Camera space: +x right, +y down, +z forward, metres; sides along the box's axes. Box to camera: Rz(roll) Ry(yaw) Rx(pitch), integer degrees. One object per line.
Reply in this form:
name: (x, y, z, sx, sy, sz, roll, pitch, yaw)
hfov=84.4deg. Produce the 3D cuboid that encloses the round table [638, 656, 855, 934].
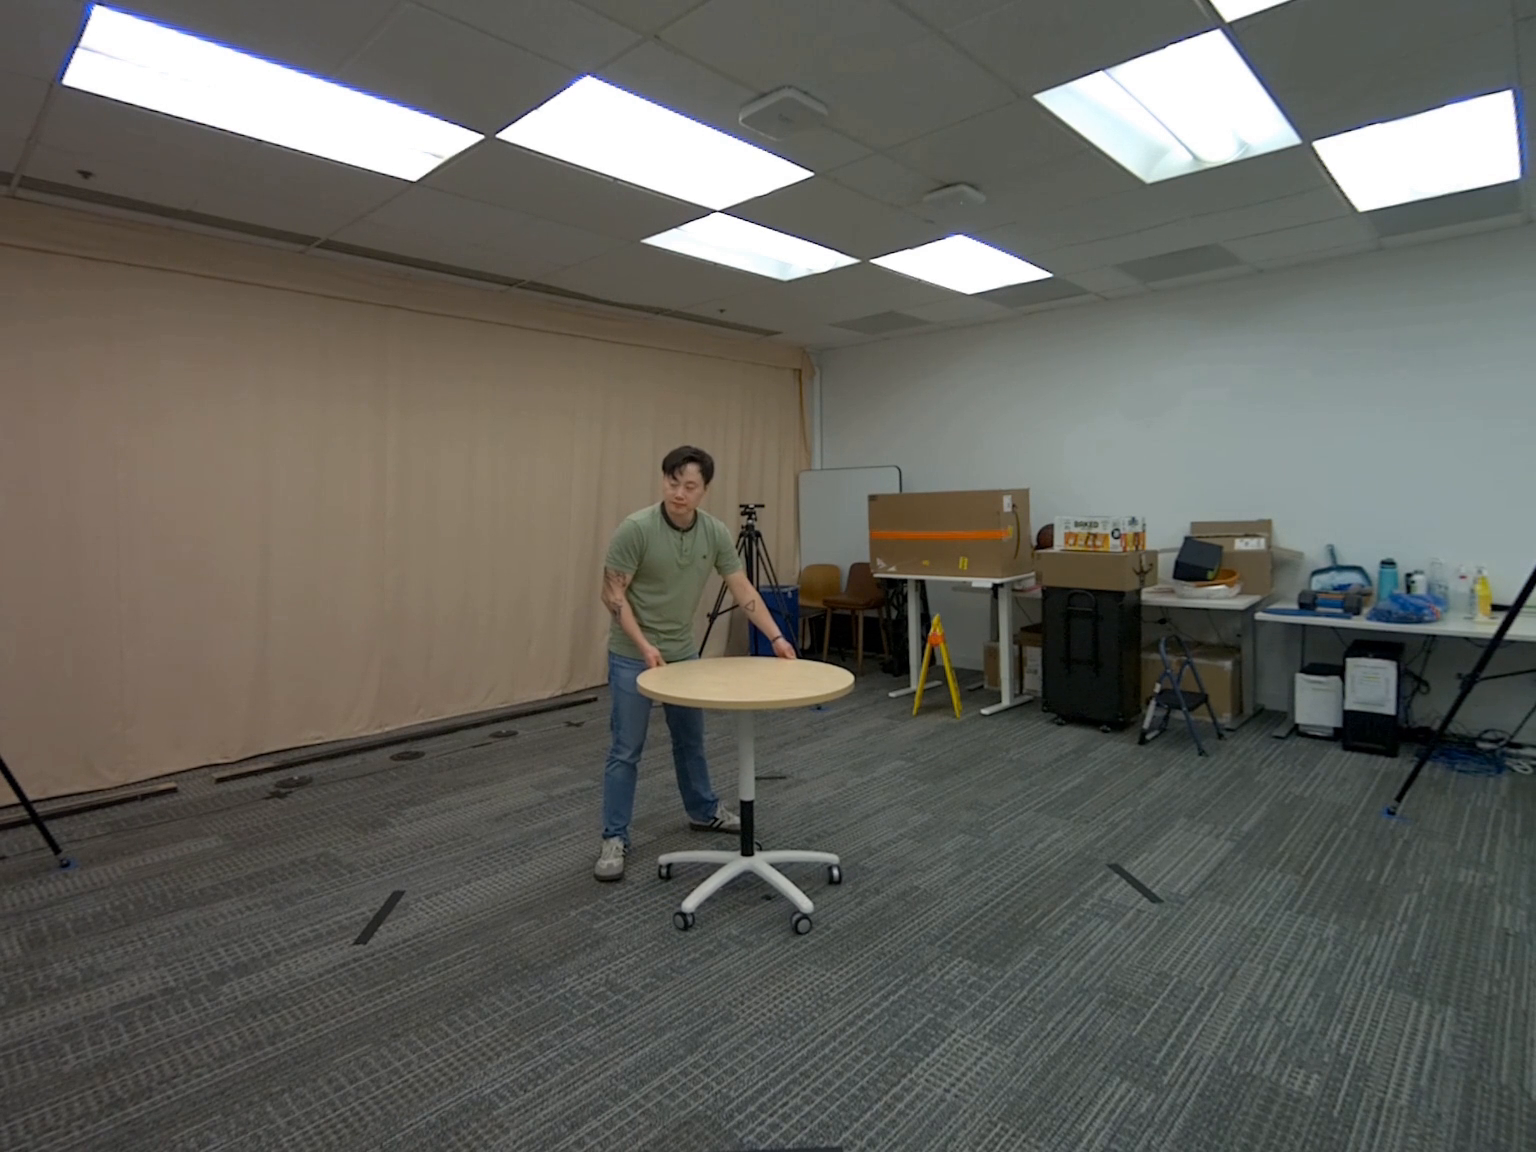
round table: (-0.066, 0.749, 3.006, 0.763, 0.792, 0.766, -1, 4, -2)
